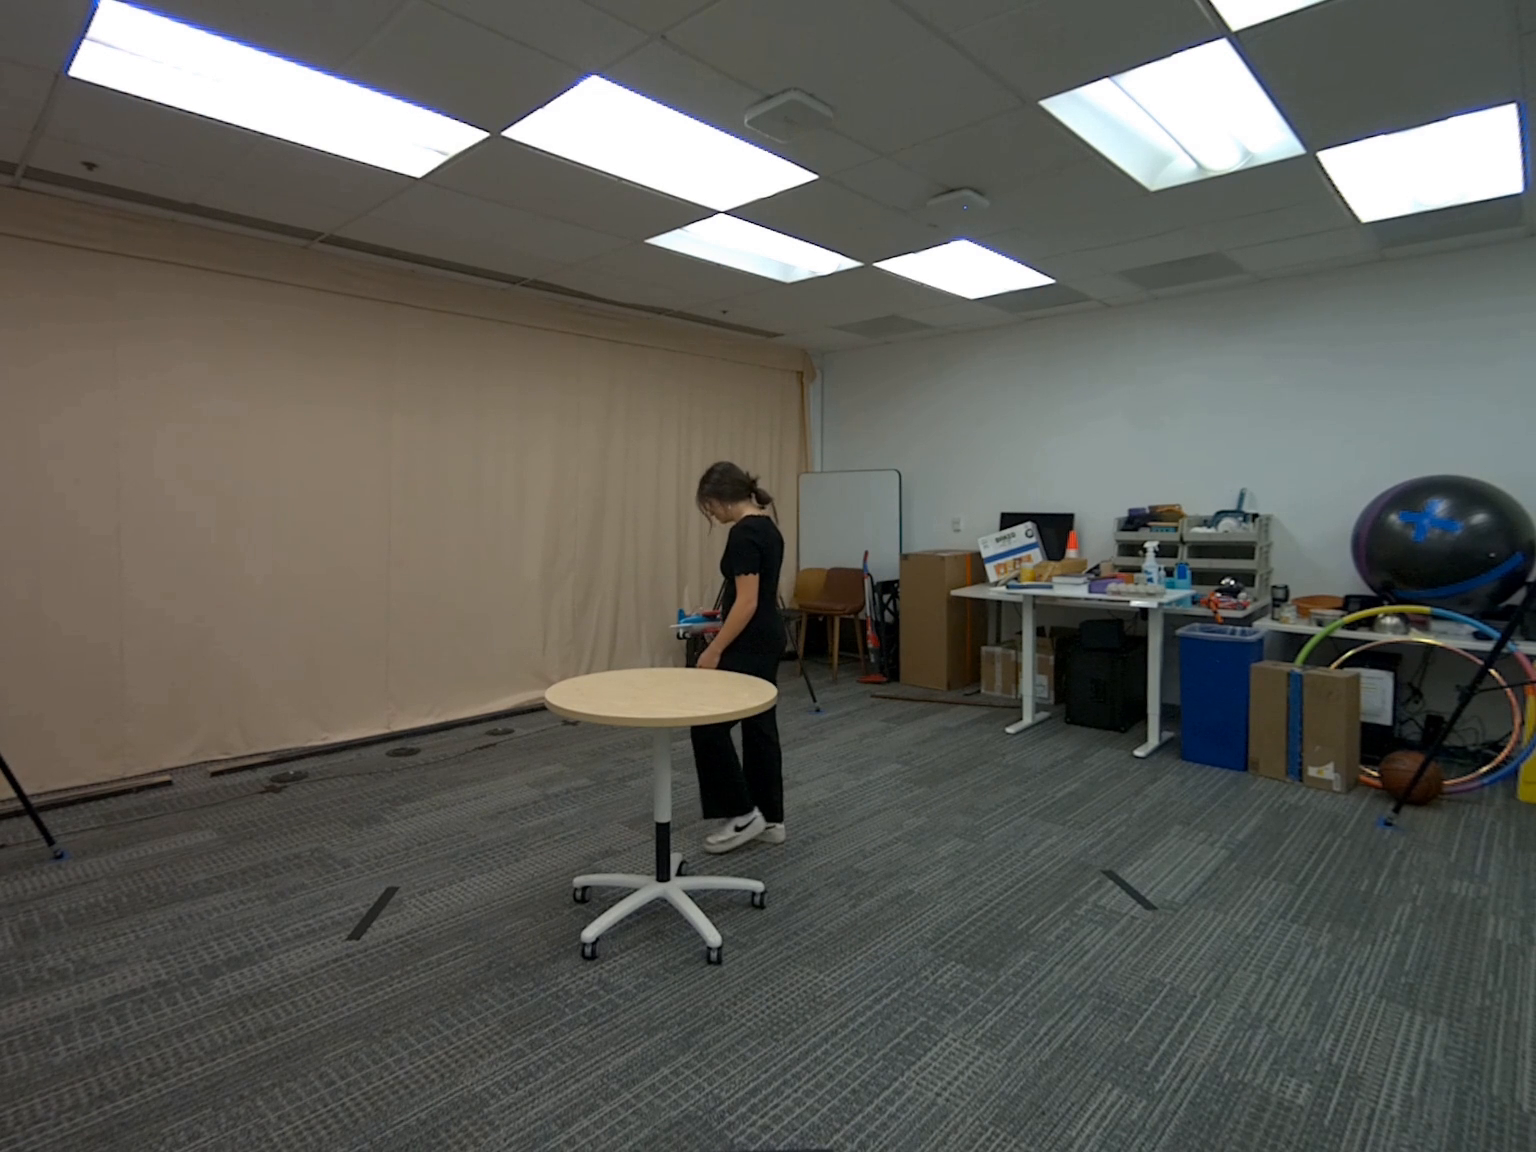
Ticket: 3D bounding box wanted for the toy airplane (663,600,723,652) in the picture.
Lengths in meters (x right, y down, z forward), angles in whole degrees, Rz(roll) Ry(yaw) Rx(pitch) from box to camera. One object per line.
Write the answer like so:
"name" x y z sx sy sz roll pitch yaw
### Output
"toy airplane" -0.279 0.216 3.637 0.256 0.158 0.252 0 -18 16
